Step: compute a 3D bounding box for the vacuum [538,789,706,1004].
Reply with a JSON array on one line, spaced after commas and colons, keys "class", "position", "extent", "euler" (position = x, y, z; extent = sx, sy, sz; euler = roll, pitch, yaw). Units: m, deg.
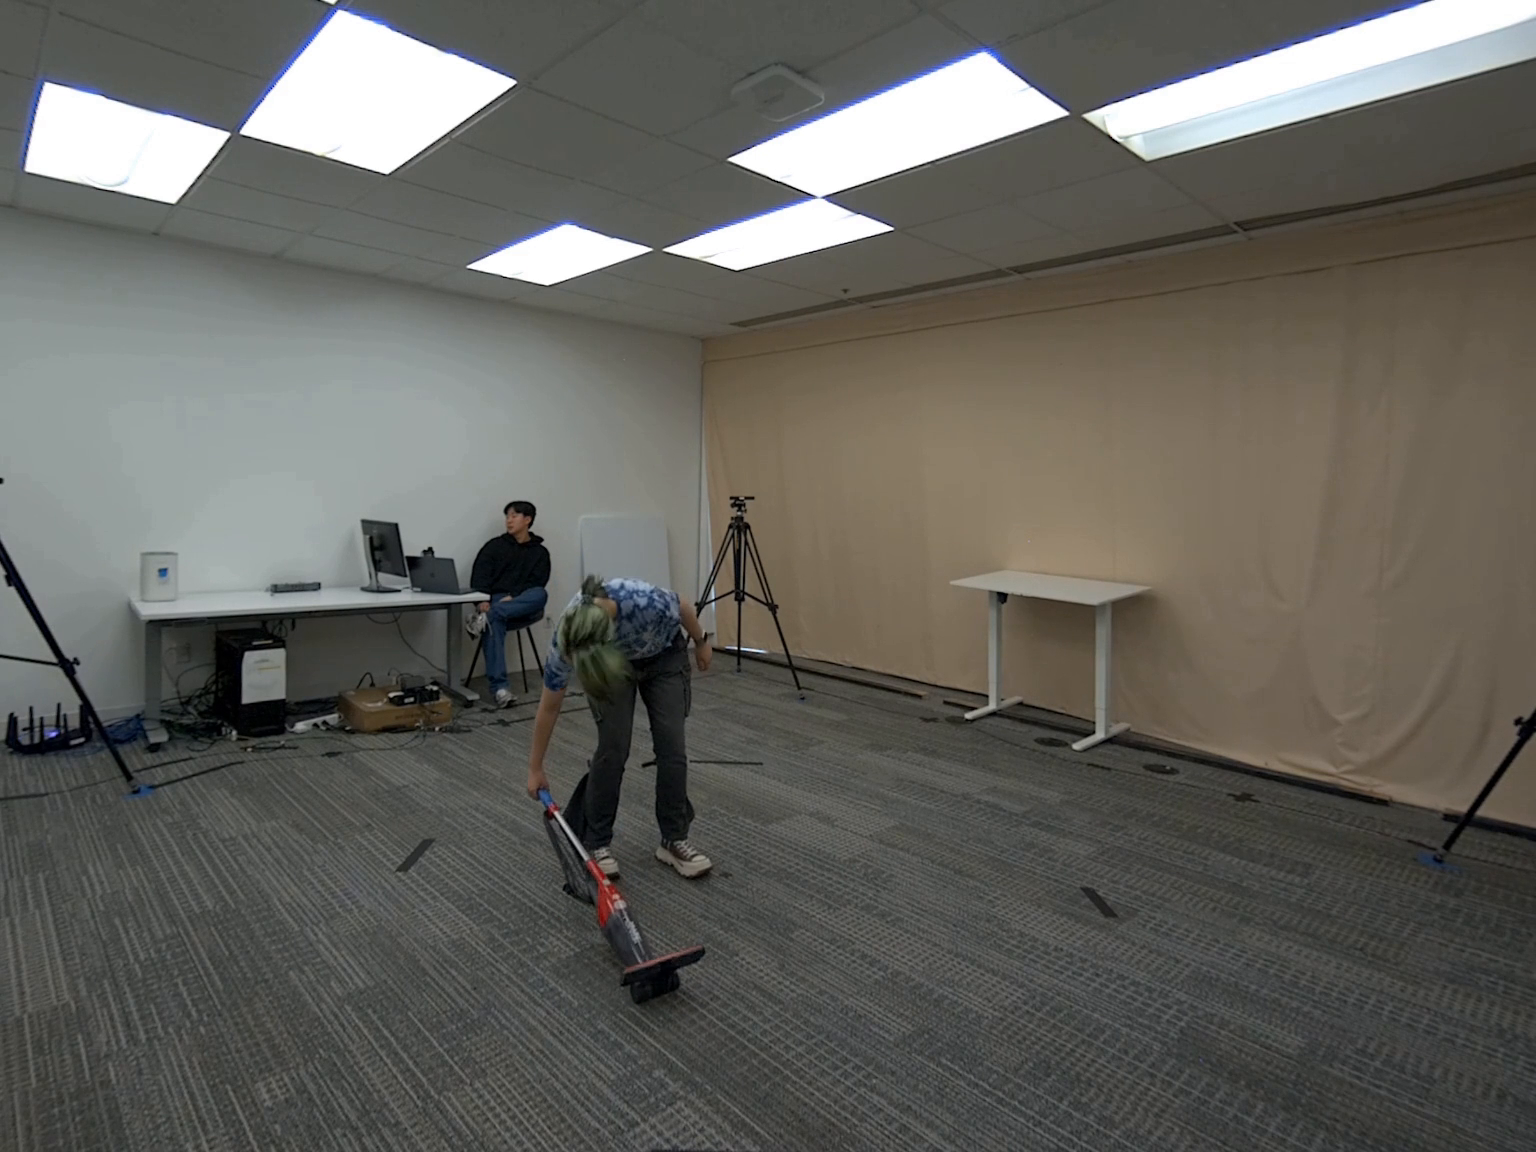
[{"class": "vacuum", "position": [-0.593, 0.971, 2.723], "extent": [0.247, 0.143, 1.081], "euler": [-1, 16, -35]}]
